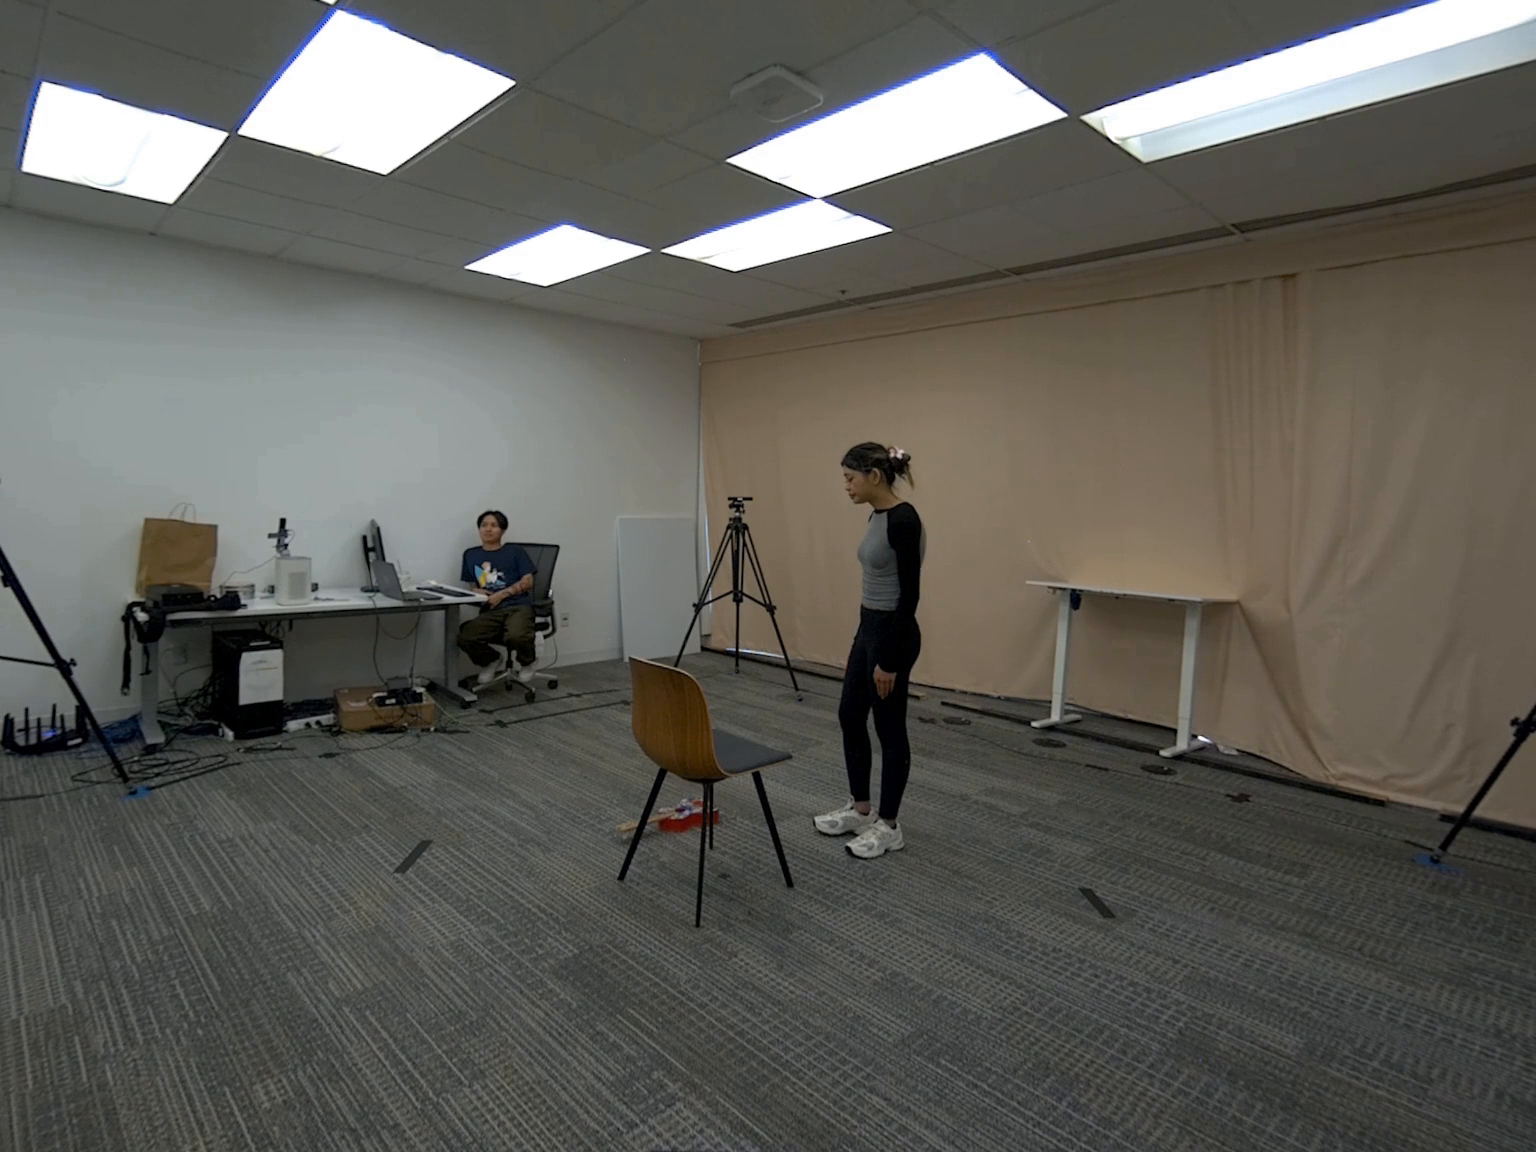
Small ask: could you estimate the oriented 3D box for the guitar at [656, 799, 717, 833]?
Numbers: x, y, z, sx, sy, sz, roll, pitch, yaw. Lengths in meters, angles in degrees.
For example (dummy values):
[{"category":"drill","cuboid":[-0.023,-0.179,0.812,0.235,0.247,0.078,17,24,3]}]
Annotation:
[{"category":"guitar","cuboid":[-0.445,1.020,3.561,0.487,0.070,0.198,-2,6,-36]}]
